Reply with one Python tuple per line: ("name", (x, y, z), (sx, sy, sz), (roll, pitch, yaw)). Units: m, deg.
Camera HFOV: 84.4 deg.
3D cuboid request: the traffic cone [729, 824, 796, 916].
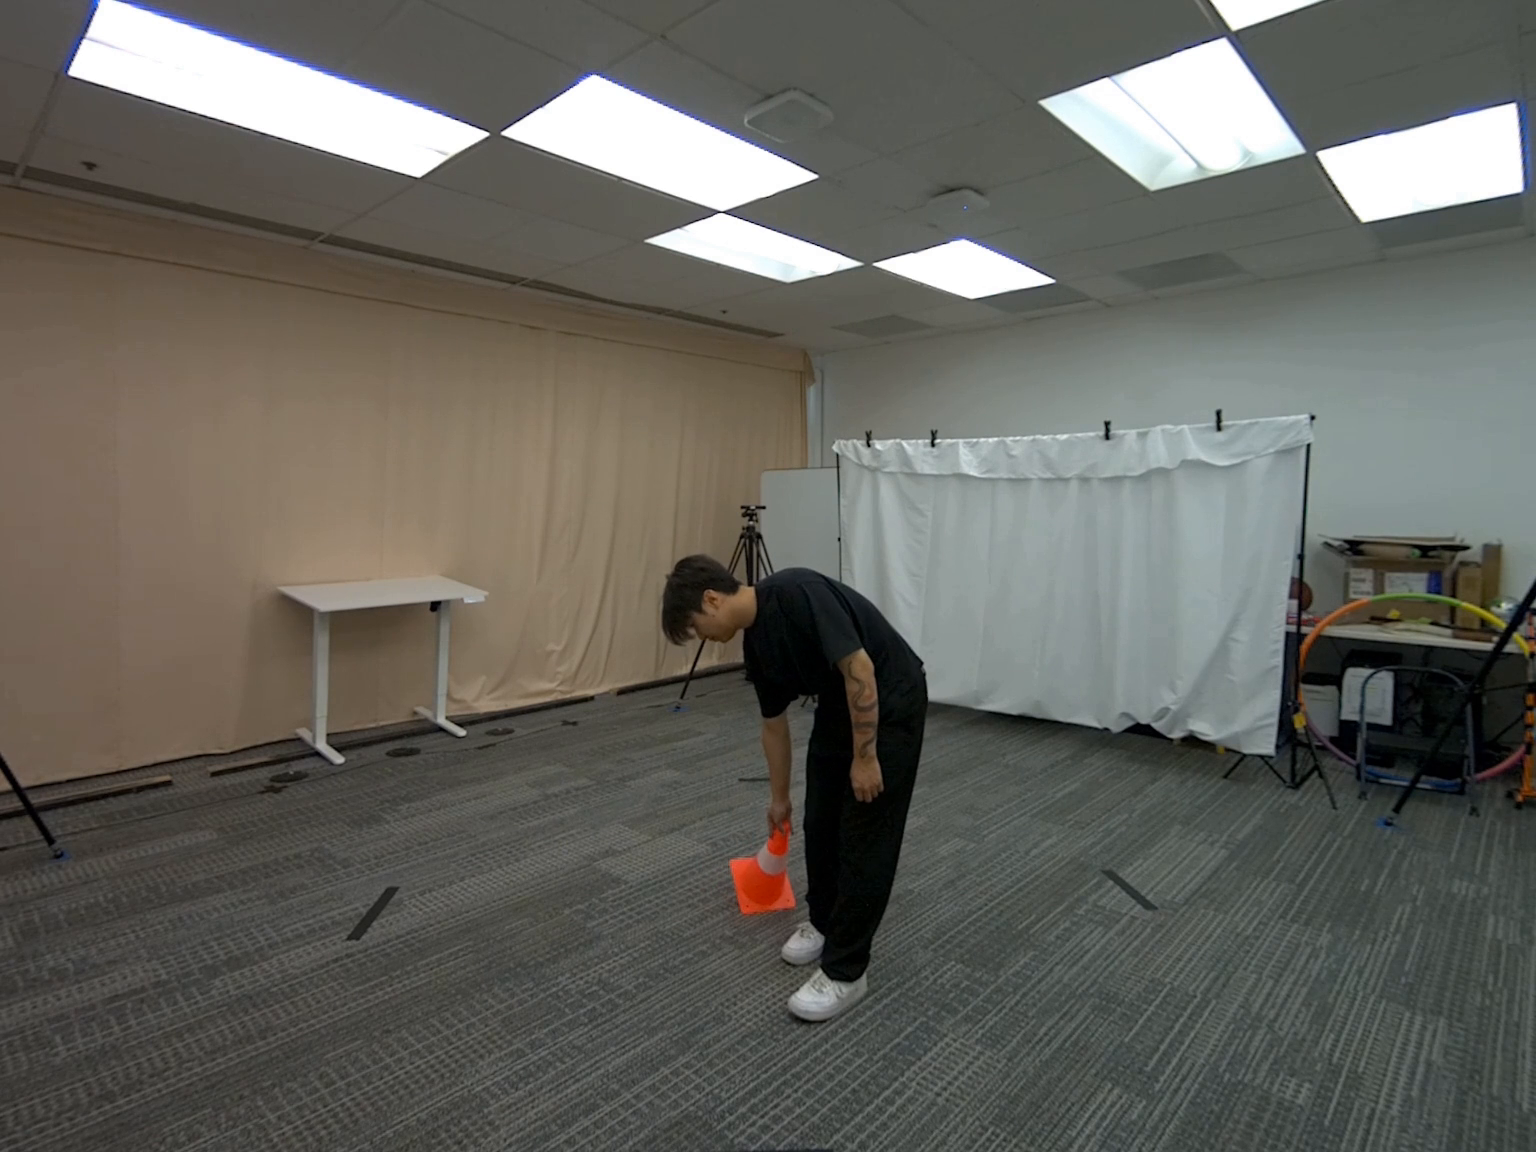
("traffic cone", (0.023, 0.950, 2.845), (0.199, 0.380, 0.211), (-2, 43, -20))
